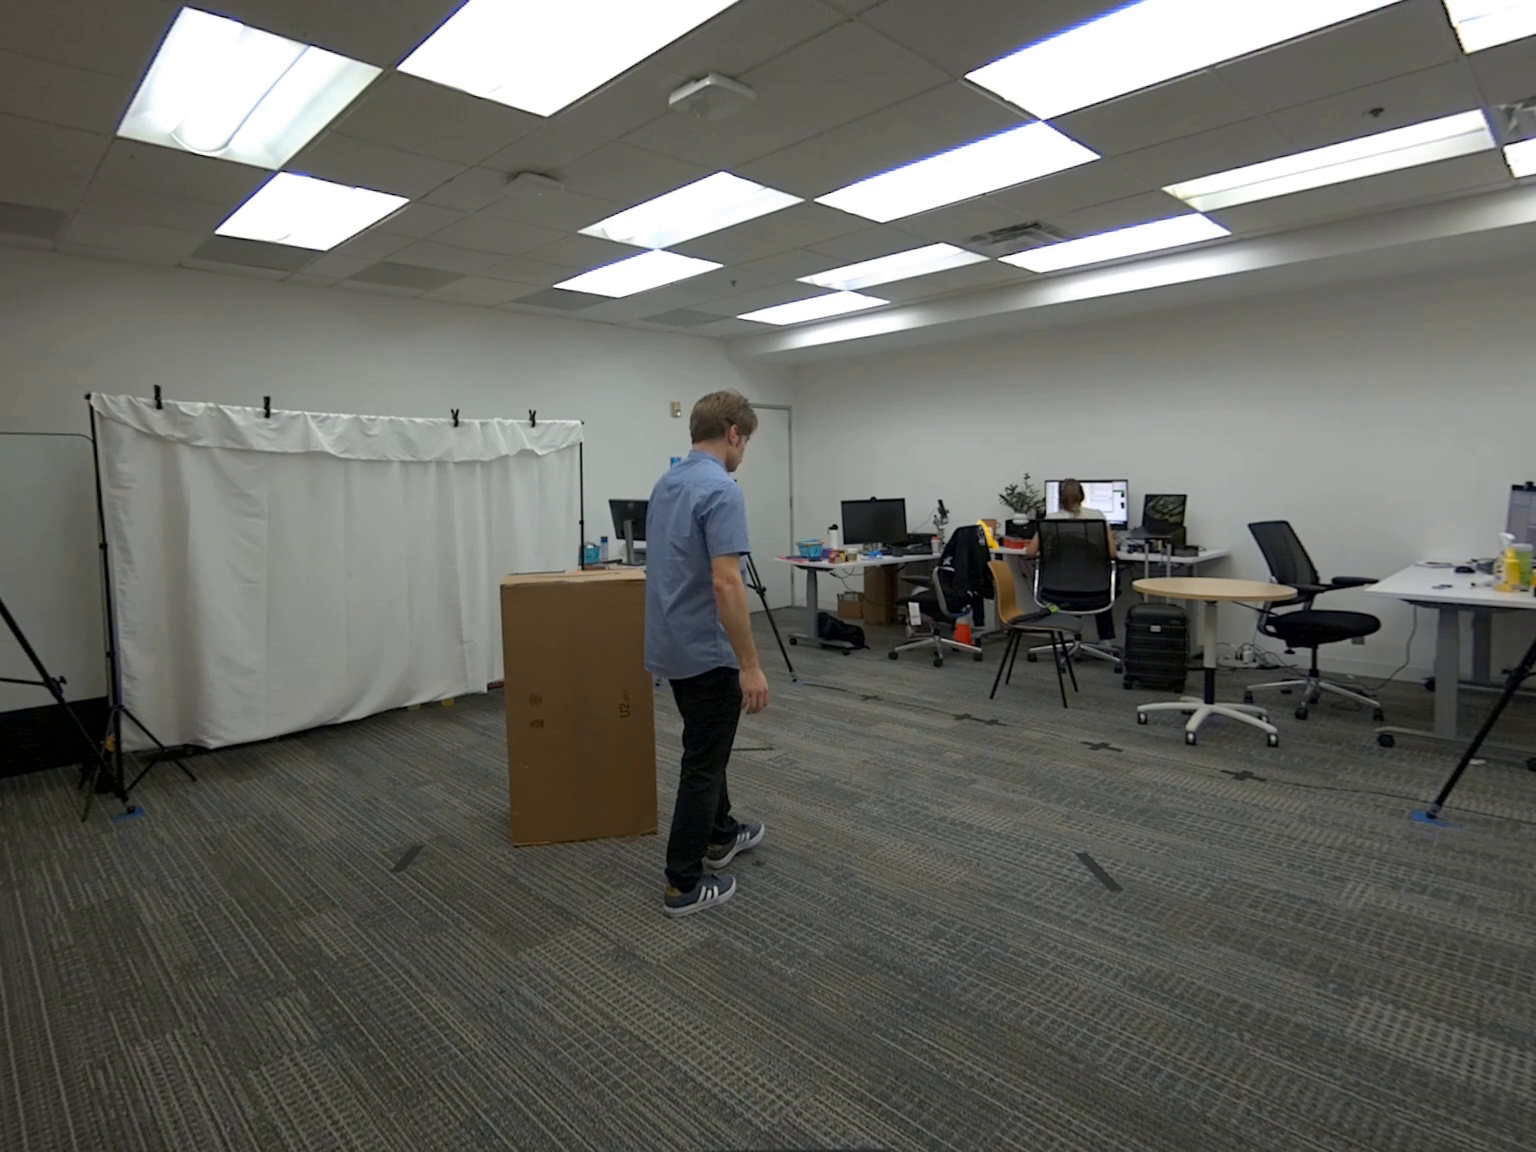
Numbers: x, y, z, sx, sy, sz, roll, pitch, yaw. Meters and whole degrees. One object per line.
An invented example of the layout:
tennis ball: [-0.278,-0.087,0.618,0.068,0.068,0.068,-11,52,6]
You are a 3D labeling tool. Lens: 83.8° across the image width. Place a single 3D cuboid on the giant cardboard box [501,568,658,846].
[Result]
giant cardboard box: [-0.778,0.508,3.523,0.572,1.023,0.432,-2,4,-11]
